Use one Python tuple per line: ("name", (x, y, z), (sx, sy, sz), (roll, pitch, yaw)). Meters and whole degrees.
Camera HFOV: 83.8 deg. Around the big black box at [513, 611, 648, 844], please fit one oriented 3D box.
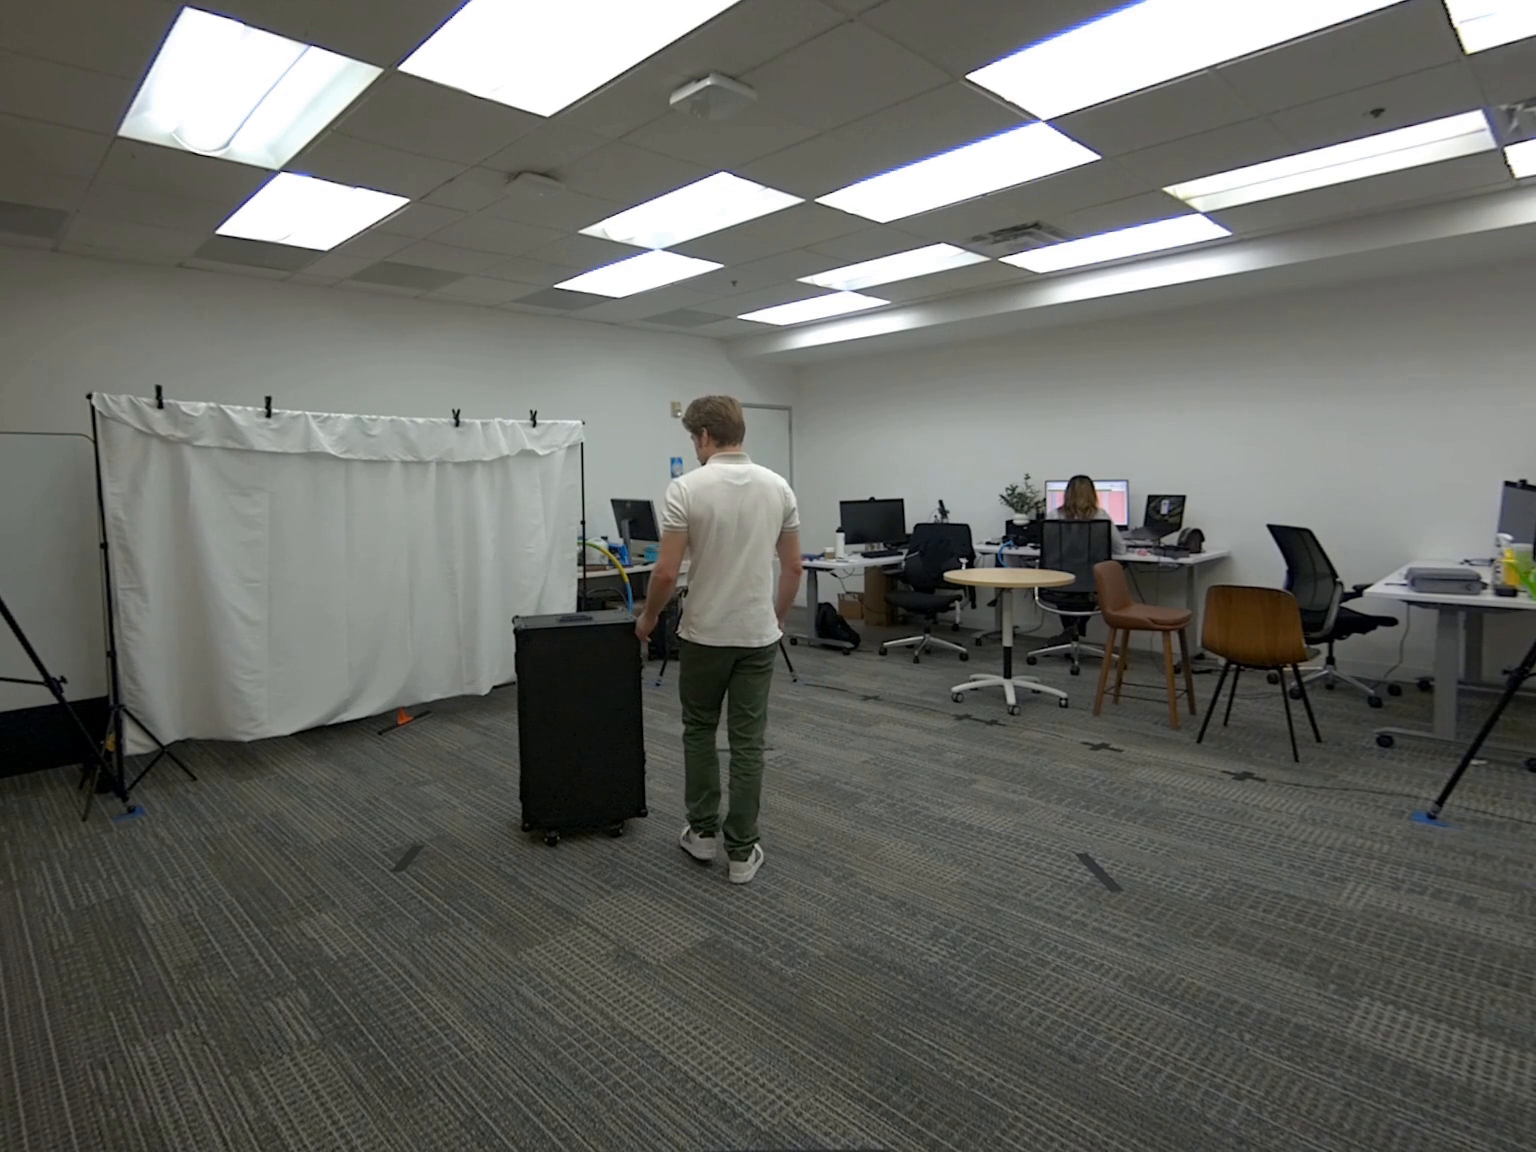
("big black box", (-0.777, 0.599, 3.484), (0.517, 0.866, 0.391), (-3, 3, -14))
